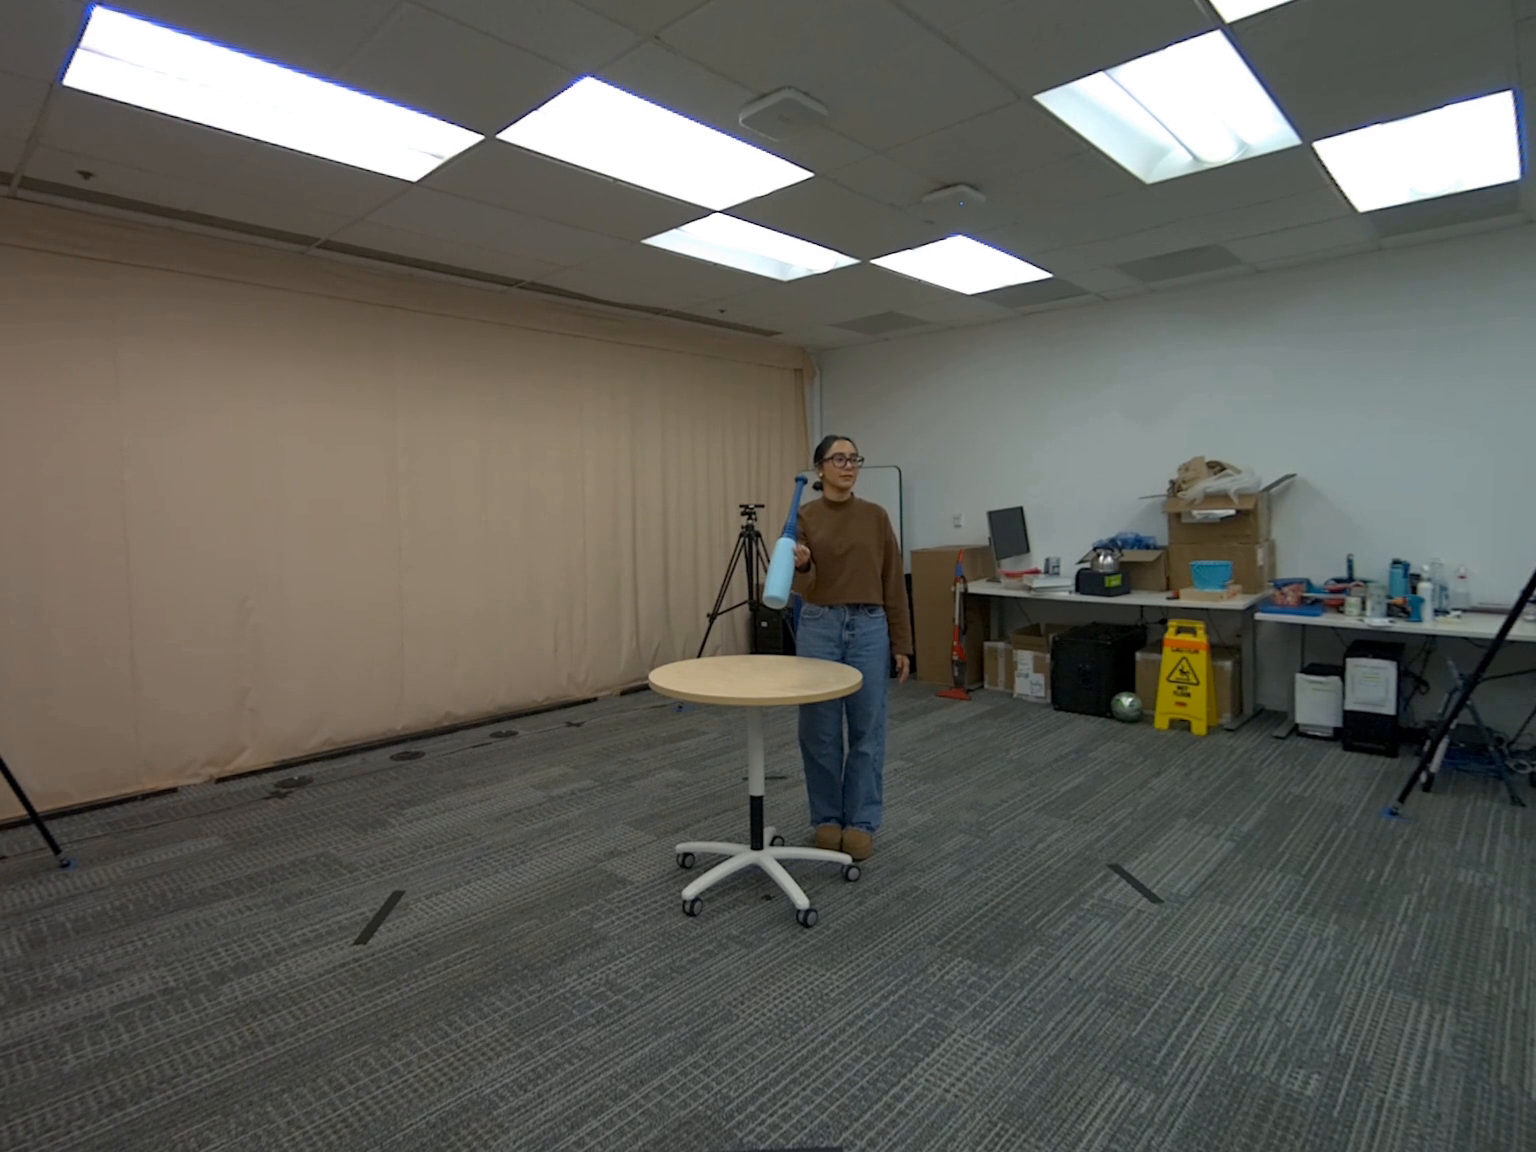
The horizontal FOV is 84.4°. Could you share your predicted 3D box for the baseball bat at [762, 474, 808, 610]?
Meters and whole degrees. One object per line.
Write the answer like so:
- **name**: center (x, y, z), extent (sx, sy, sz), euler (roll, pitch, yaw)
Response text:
- **baseball bat**: center (0.077, -0.134, 2.984), extent (0.089, 0.548, 0.088), euler (10, -30, 4)
